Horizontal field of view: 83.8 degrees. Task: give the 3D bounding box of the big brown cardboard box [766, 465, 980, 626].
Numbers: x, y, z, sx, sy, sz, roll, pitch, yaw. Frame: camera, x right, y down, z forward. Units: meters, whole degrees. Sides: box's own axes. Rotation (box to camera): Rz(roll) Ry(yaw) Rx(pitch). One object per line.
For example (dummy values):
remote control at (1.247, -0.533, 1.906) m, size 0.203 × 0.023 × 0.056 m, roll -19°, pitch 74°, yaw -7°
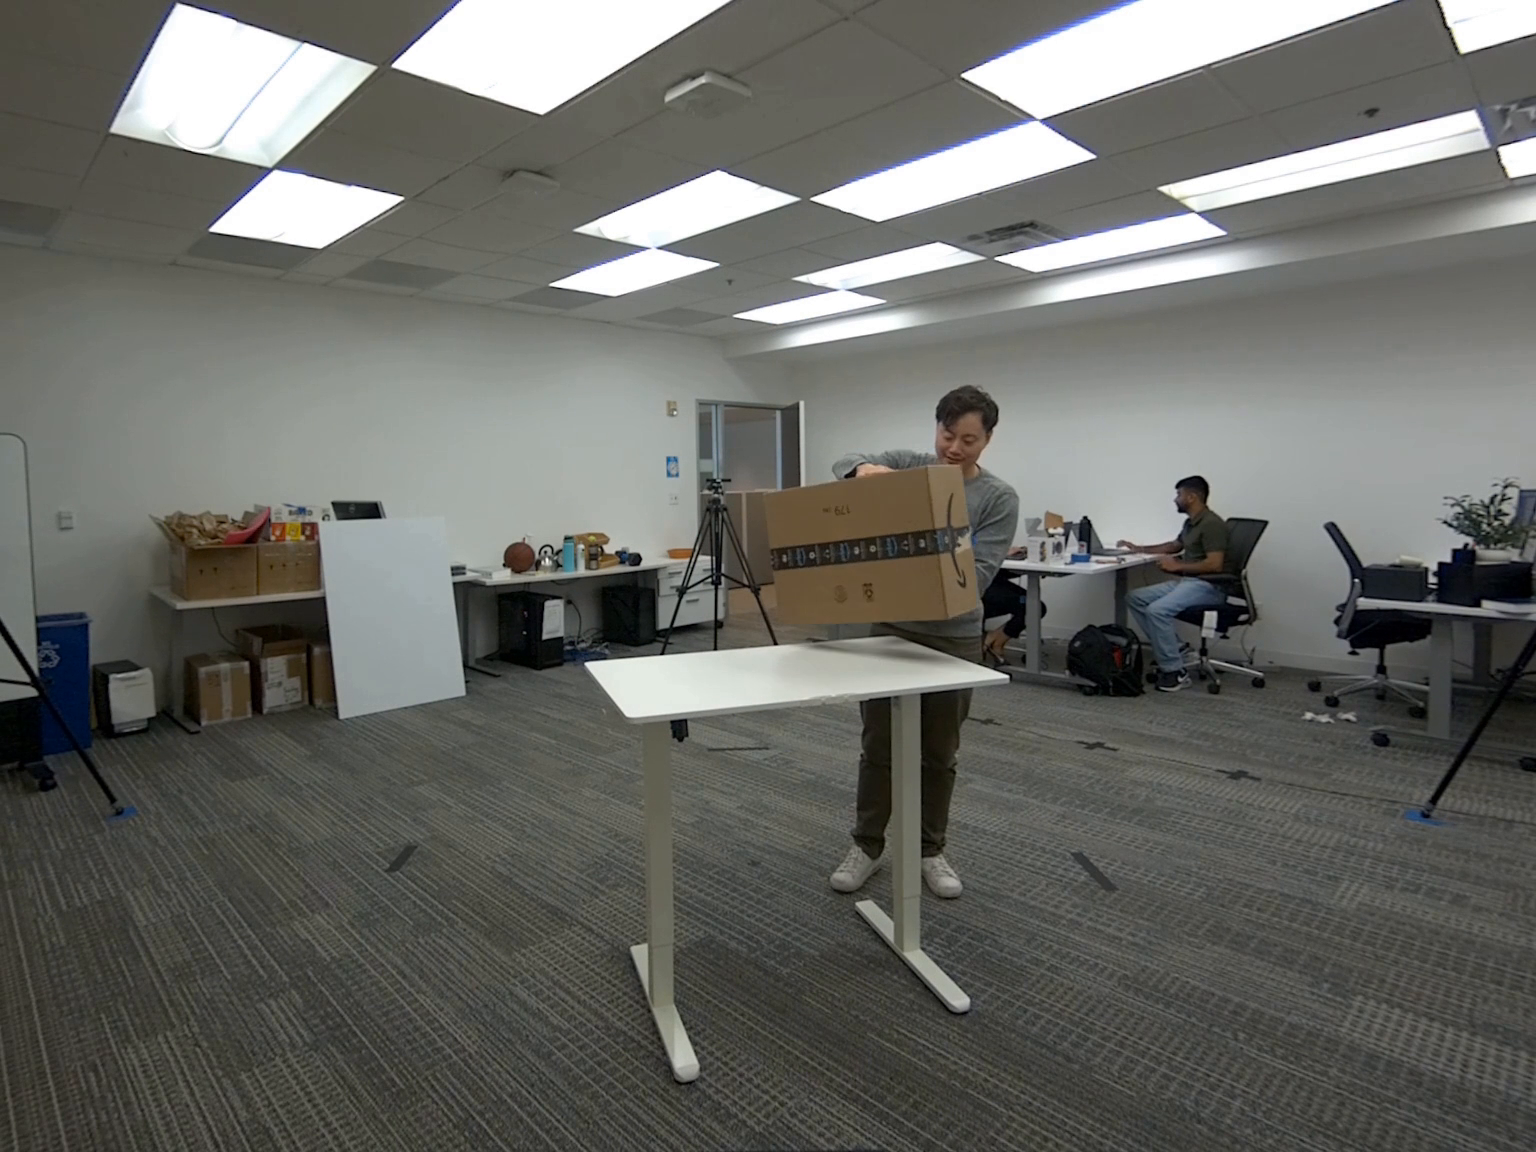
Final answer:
big brown cardboard box at (0.282, -0.079, 2.538) m, size 0.604 × 0.418 × 0.227 m, roll -5°, pitch 1°, yaw 42°
